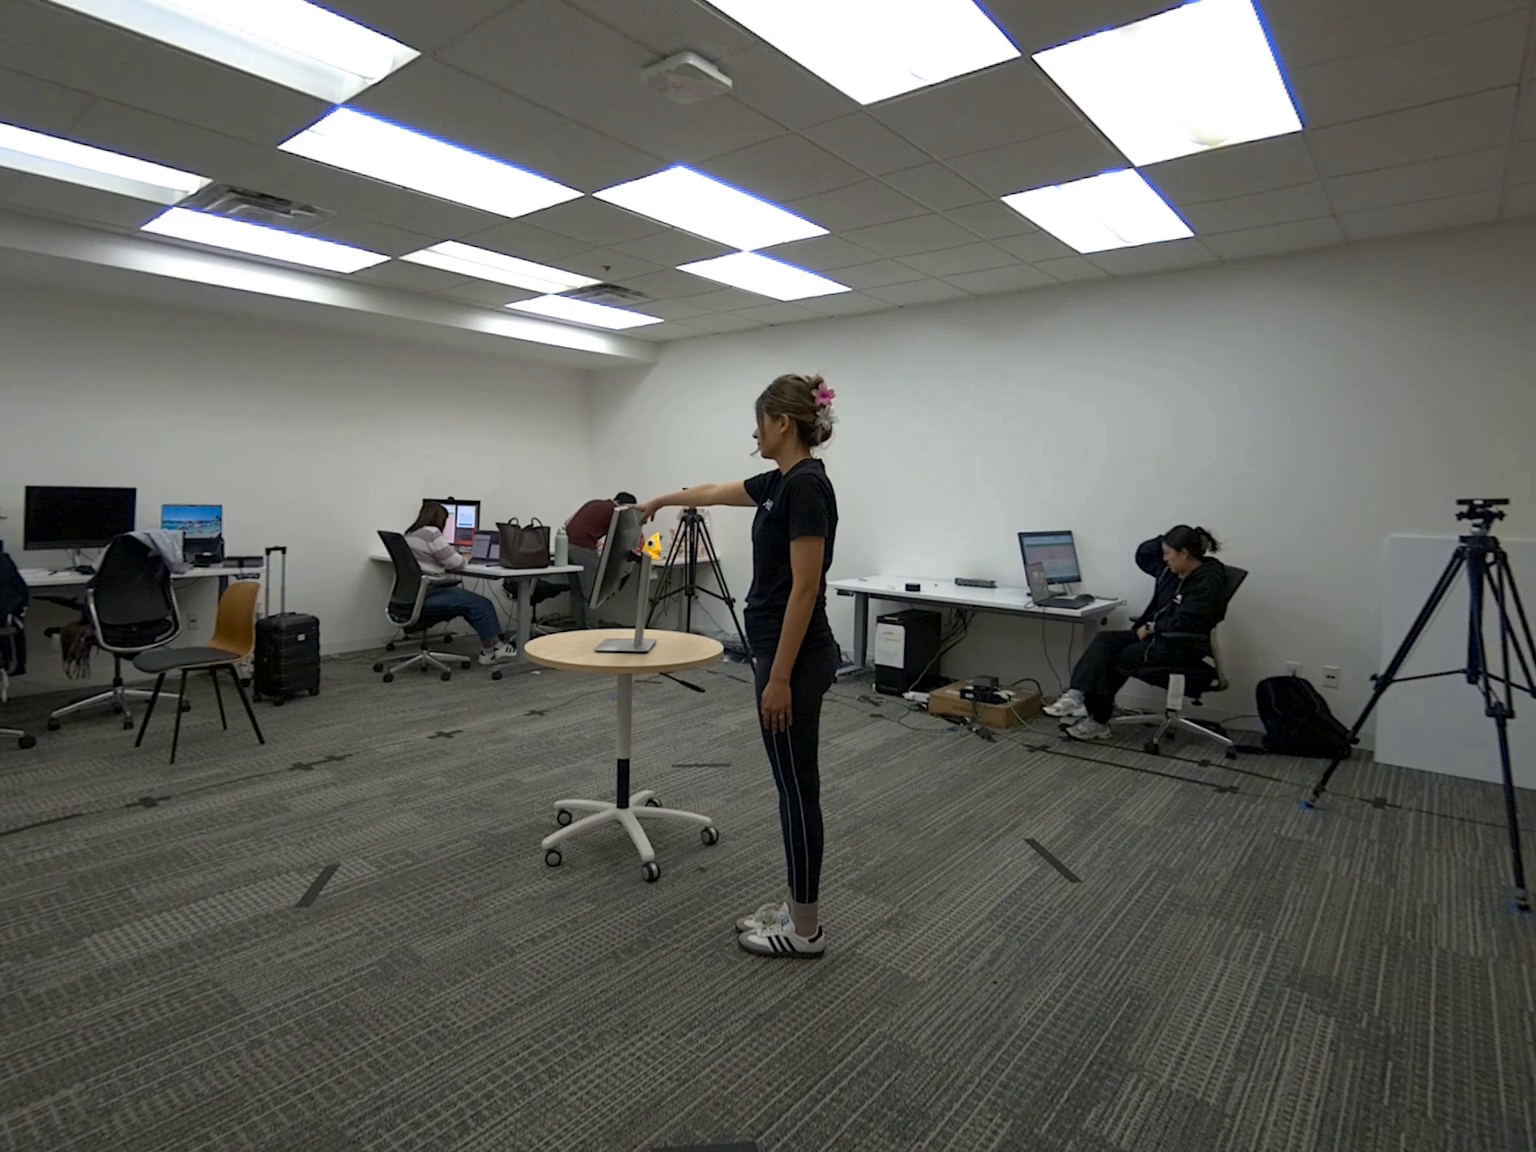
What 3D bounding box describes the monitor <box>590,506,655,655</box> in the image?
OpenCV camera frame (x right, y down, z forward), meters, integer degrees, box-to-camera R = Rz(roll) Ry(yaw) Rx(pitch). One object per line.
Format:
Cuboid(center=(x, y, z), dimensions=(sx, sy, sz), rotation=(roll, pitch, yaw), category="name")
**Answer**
Cuboid(center=(-0.545, 0.010, 3.246), dimensions=(0.187, 0.521, 0.540), rotation=(1, 5, 0), category="monitor")
